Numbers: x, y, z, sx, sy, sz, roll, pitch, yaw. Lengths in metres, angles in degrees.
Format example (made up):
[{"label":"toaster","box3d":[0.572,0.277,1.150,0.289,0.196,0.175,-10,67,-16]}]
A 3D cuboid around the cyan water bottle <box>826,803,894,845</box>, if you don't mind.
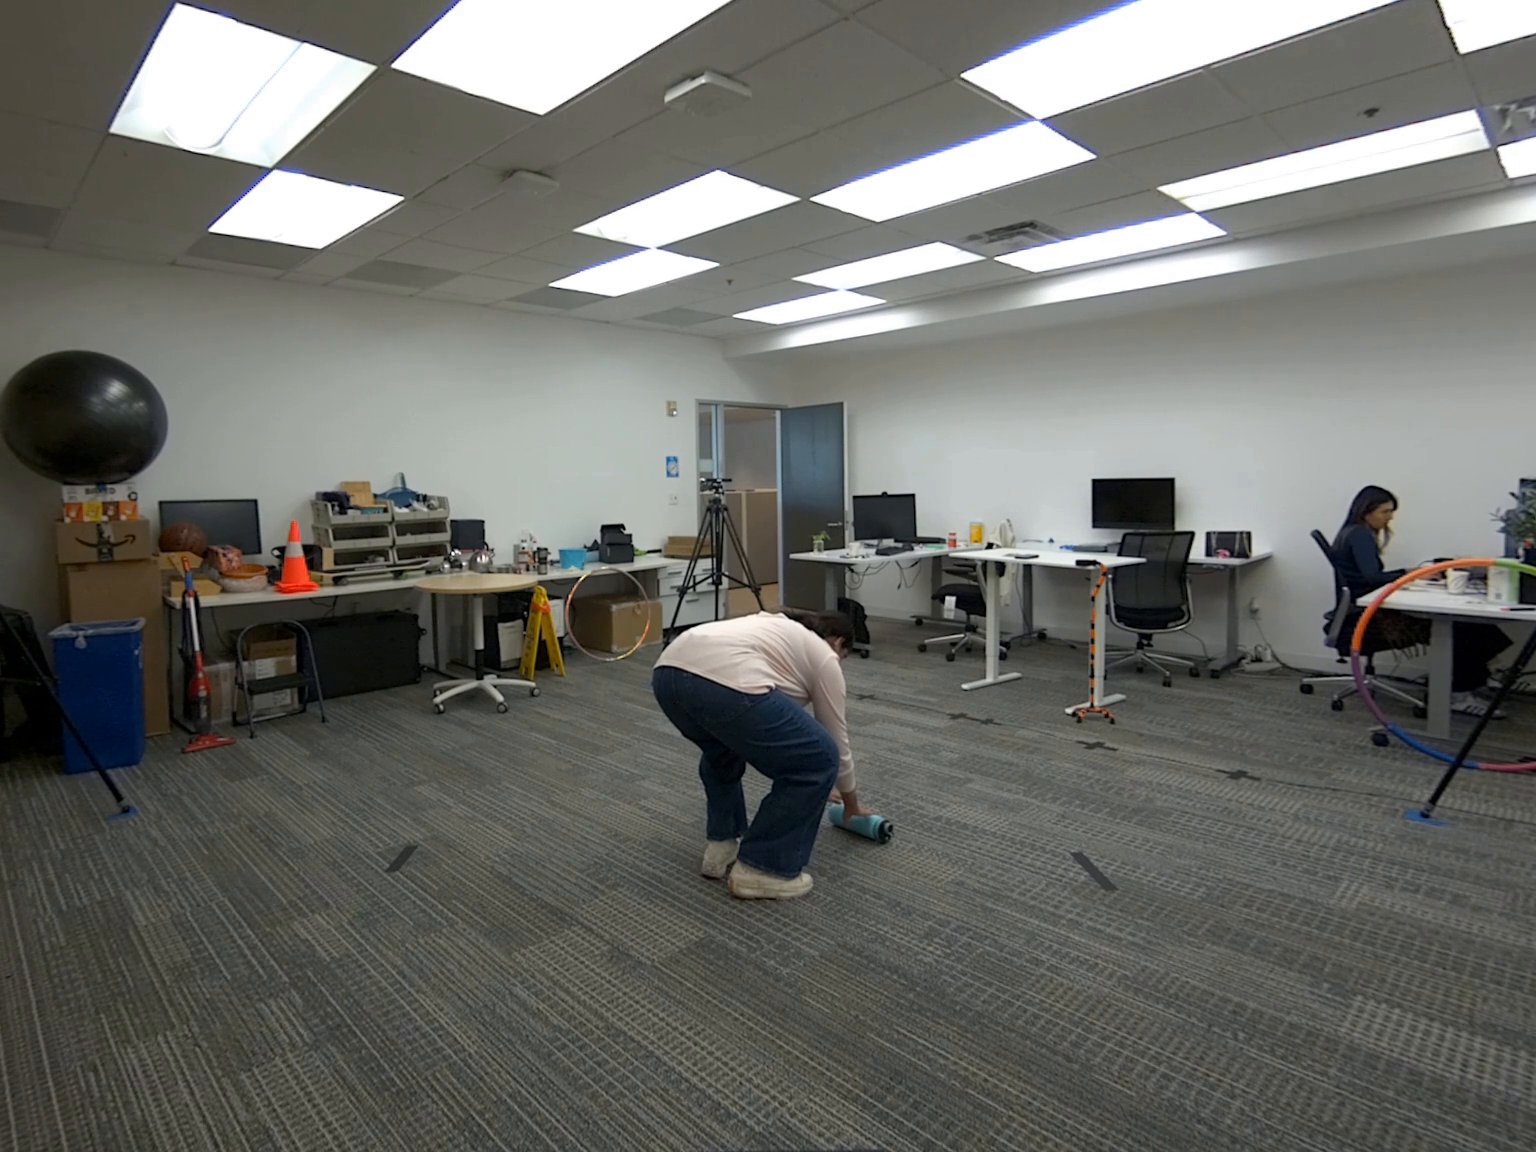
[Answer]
[{"label":"cyan water bottle","box3d":[0.366,0.959,3.340,0.090,0.092,0.292,-5,6,-41]}]
